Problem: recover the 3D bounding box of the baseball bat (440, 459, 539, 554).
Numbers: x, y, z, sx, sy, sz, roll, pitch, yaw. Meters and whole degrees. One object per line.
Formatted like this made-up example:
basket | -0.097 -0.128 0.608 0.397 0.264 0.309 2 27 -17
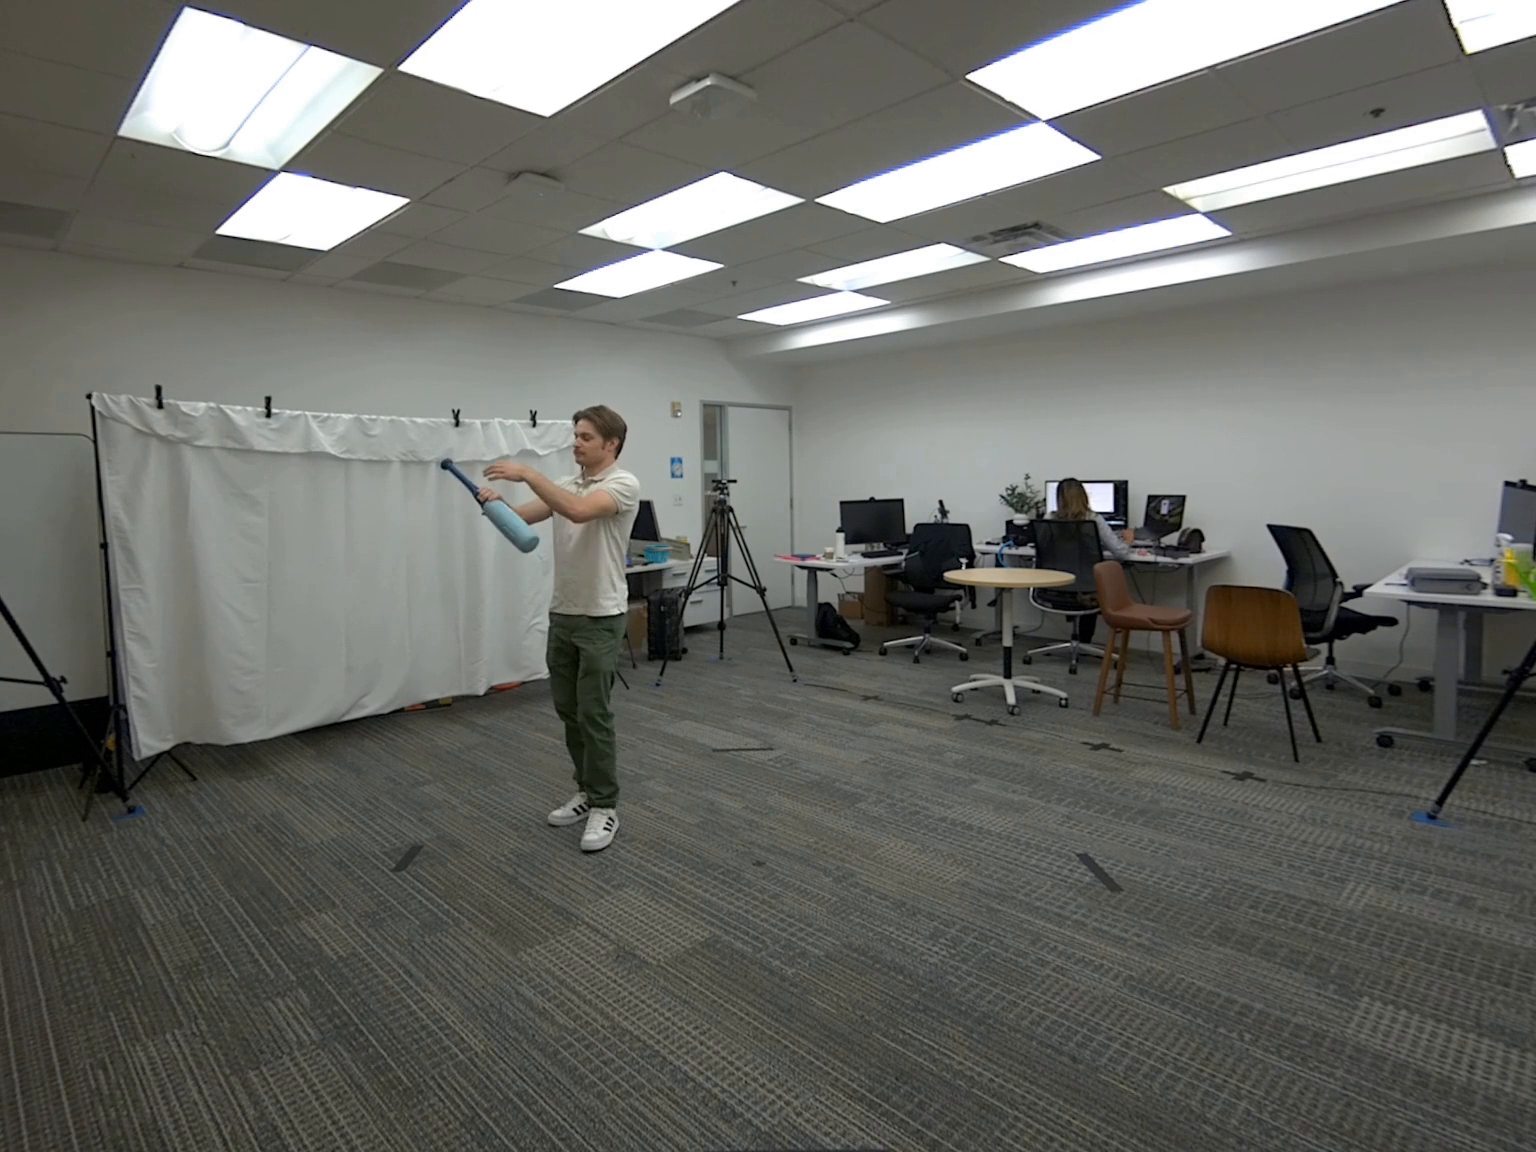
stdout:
baseball bat | -1.056 -0.272 3.186 0.558 0.088 0.087 39 21 22
